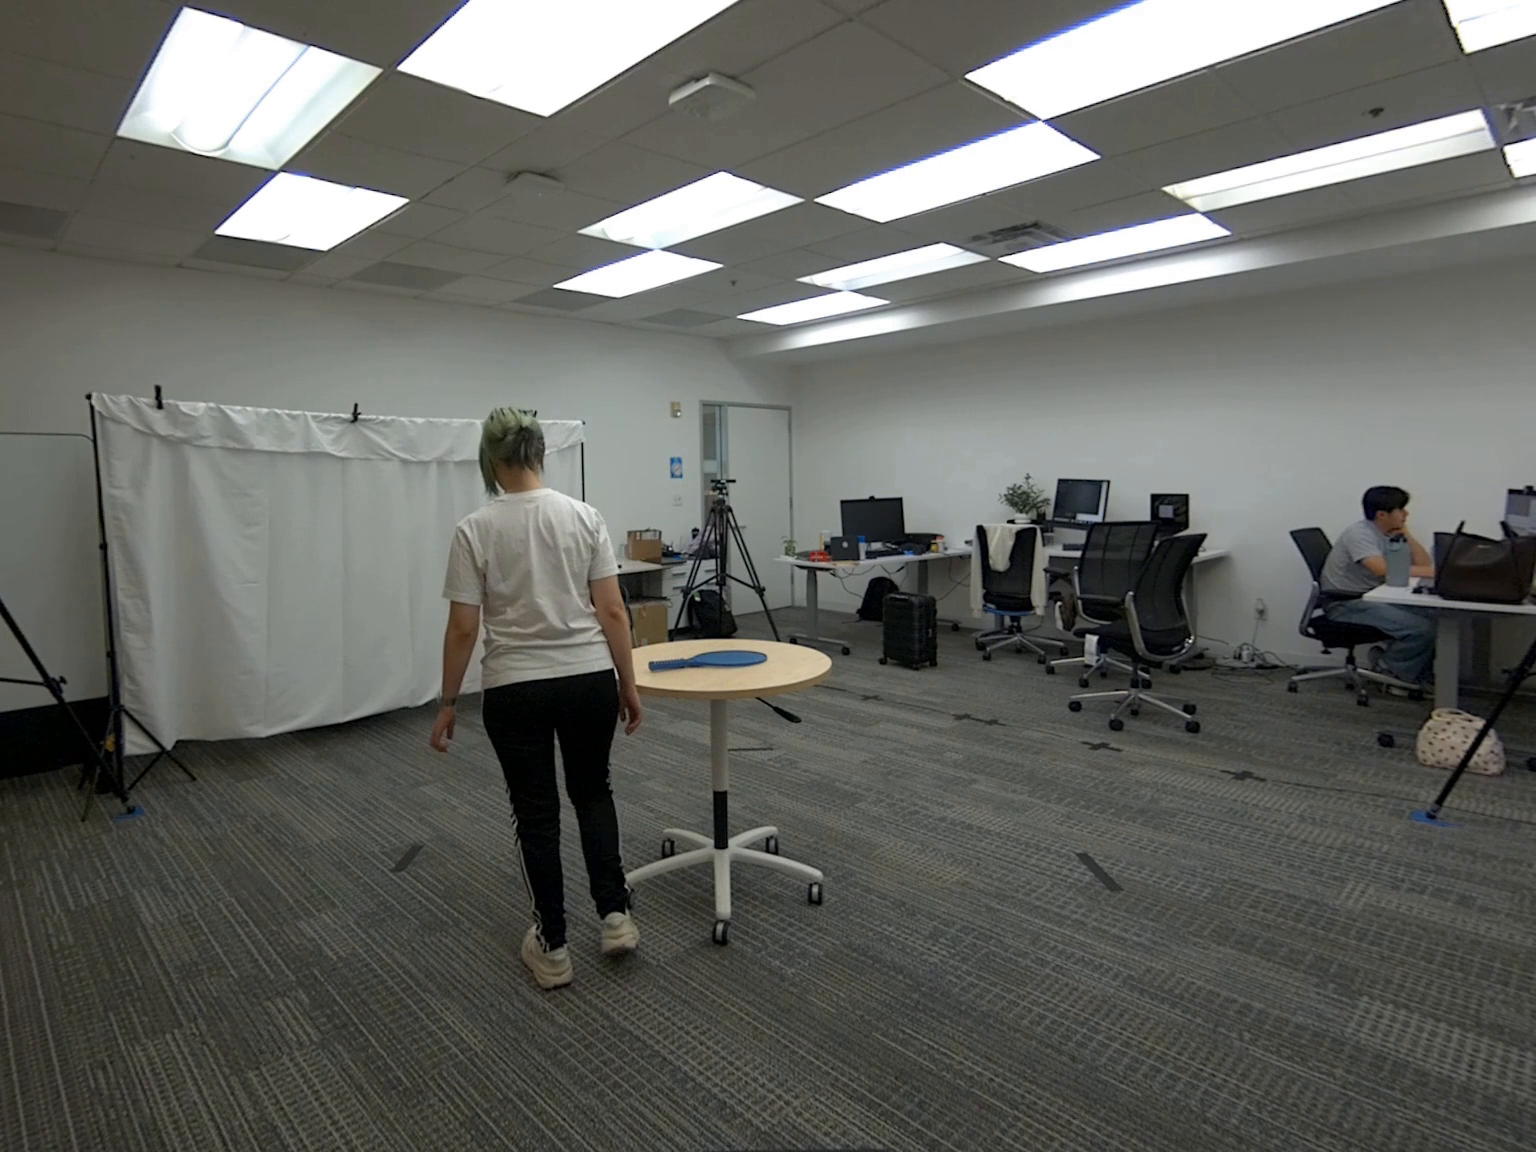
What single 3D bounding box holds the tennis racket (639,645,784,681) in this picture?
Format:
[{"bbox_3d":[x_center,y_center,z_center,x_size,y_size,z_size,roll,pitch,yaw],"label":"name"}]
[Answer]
[{"bbox_3d":[-0.187,0.285,2.856,0.422,0.031,0.220,-4,7,-34],"label":"tennis racket"}]
